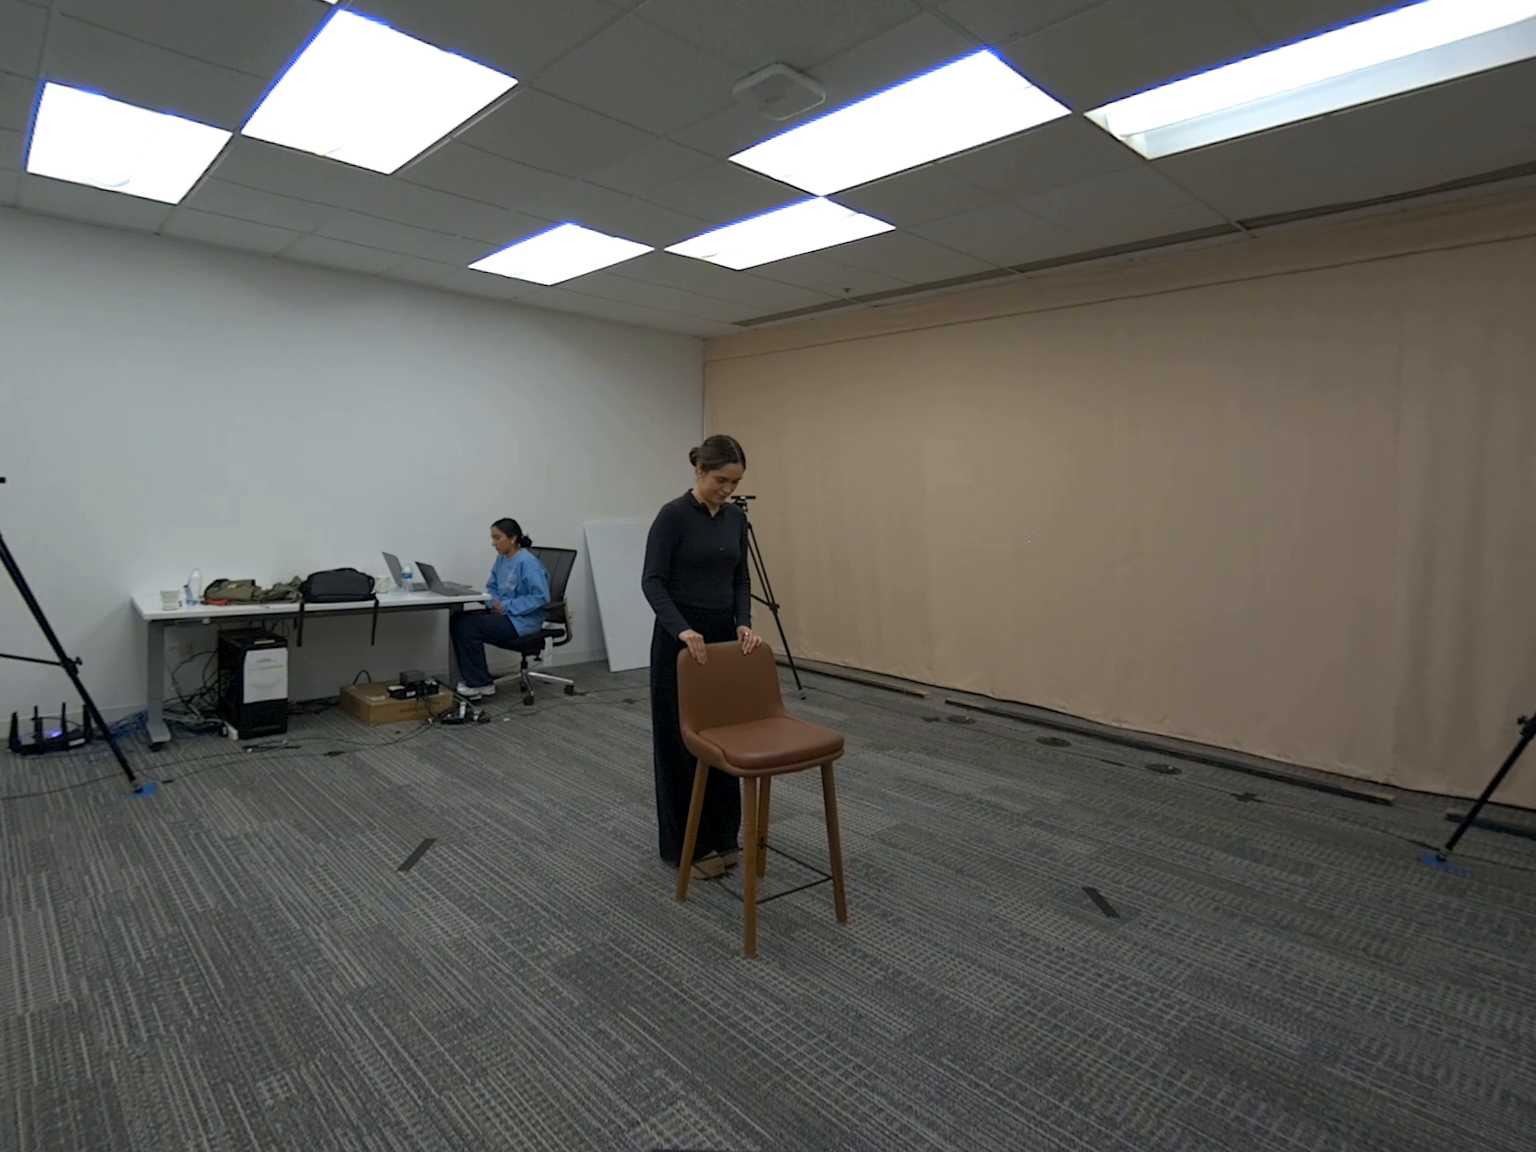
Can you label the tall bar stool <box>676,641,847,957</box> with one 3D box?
[{"bbox_3d":[-0.037,0.692,2.816,0.446,0.889,0.478,-1,2,-37],"label":"tall bar stool"}]
